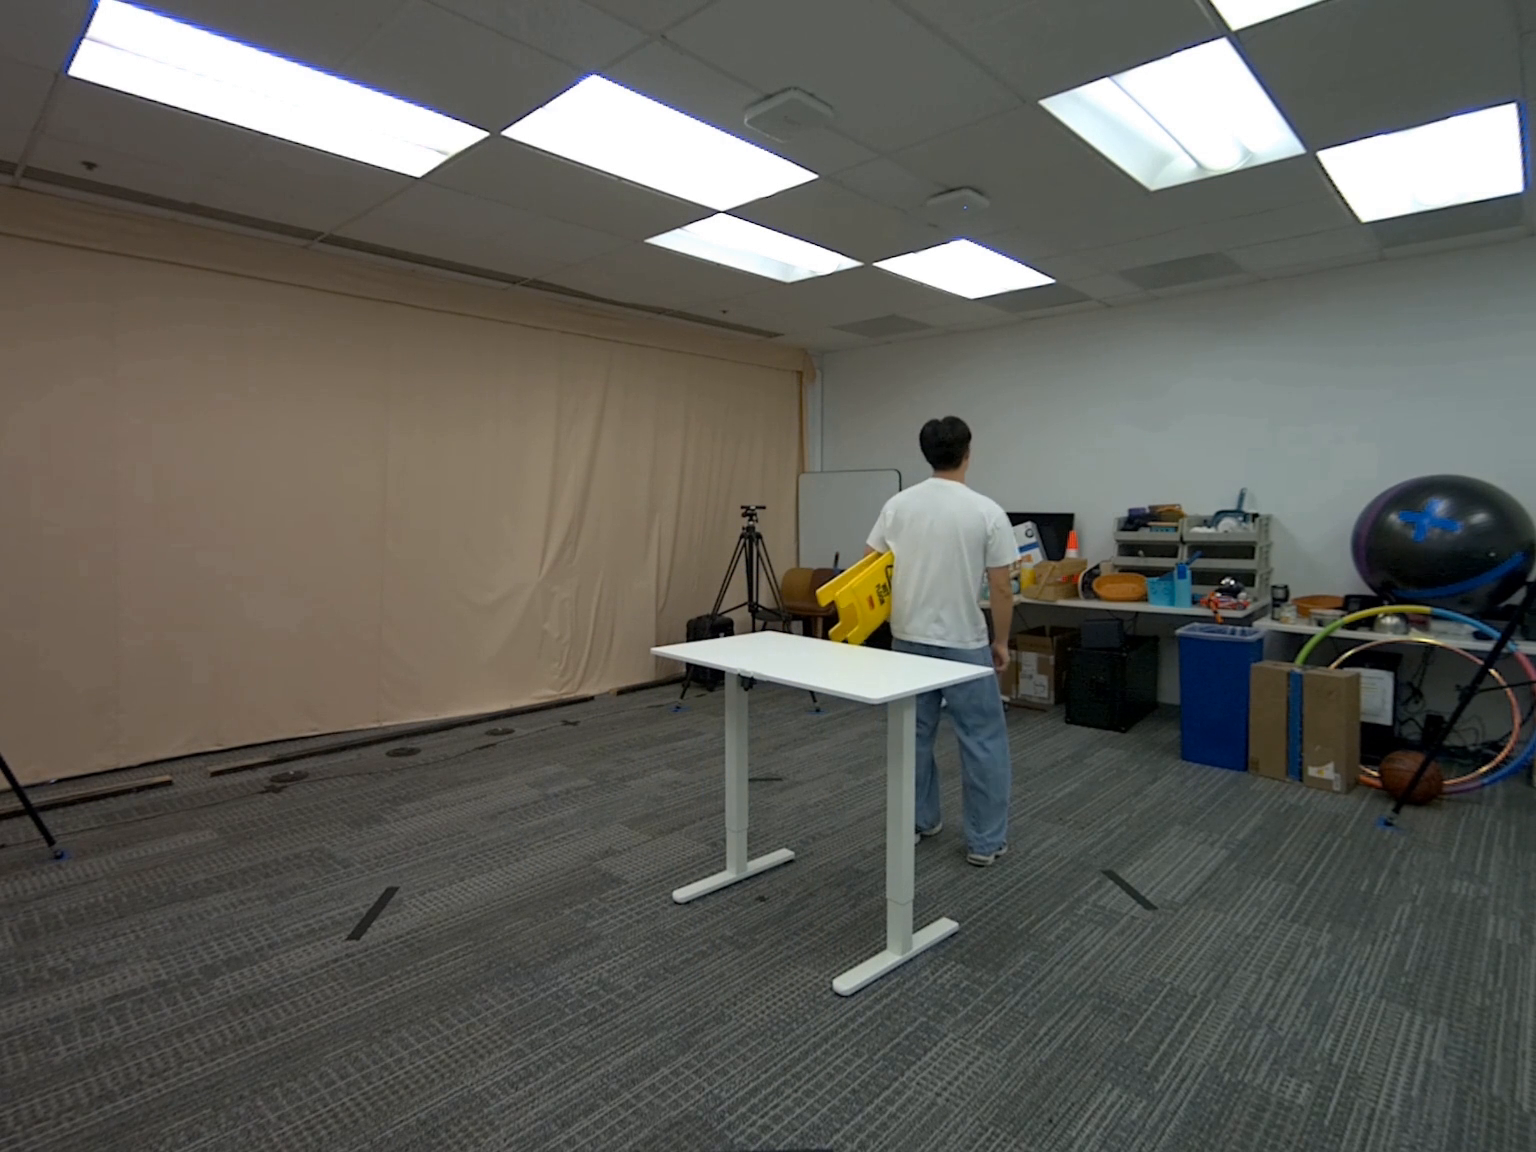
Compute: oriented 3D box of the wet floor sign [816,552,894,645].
[{"bbox_3d":[0.501,0.007,3.505,0.638,0.276,0.299,-33,27,-24],"label":"wet floor sign"}]
